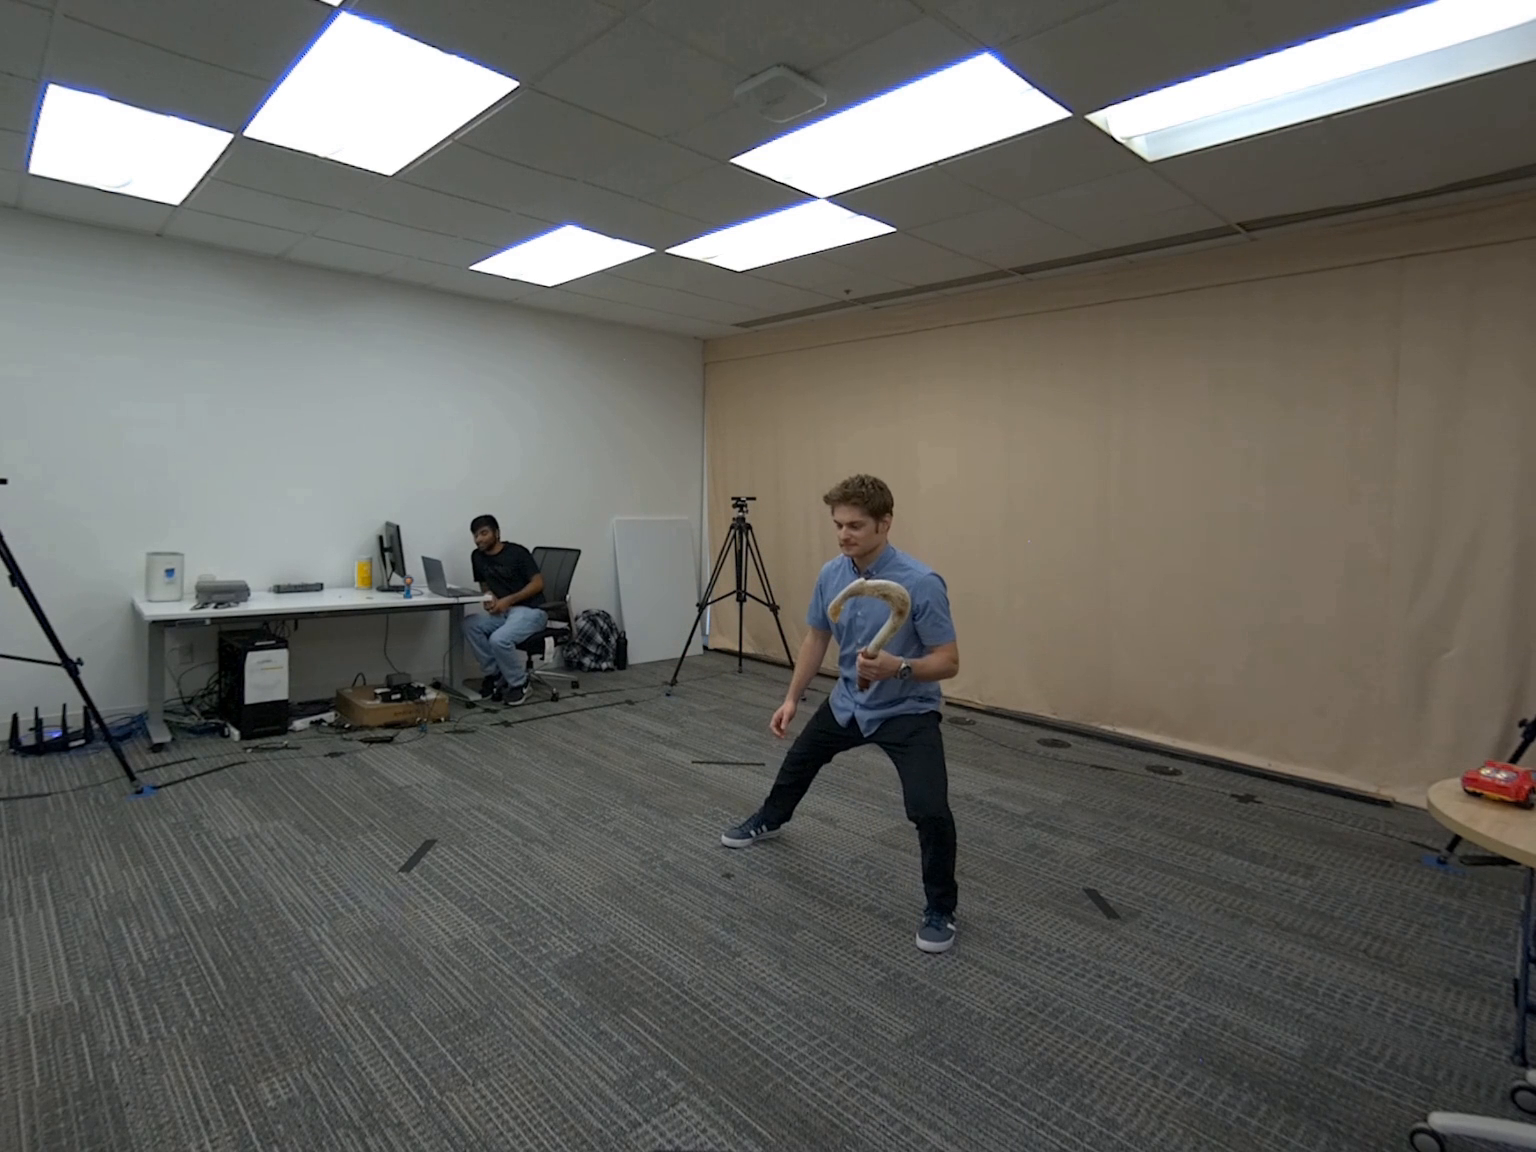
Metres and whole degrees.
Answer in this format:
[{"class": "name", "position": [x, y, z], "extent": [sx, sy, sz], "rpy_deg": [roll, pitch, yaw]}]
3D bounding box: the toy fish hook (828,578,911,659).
[{"class": "toy fish hook", "position": [0.253, 0.178, 2.480], "extent": [0.225, 0.497, 0.049], "rpy_deg": [10, 44, 4]}]
